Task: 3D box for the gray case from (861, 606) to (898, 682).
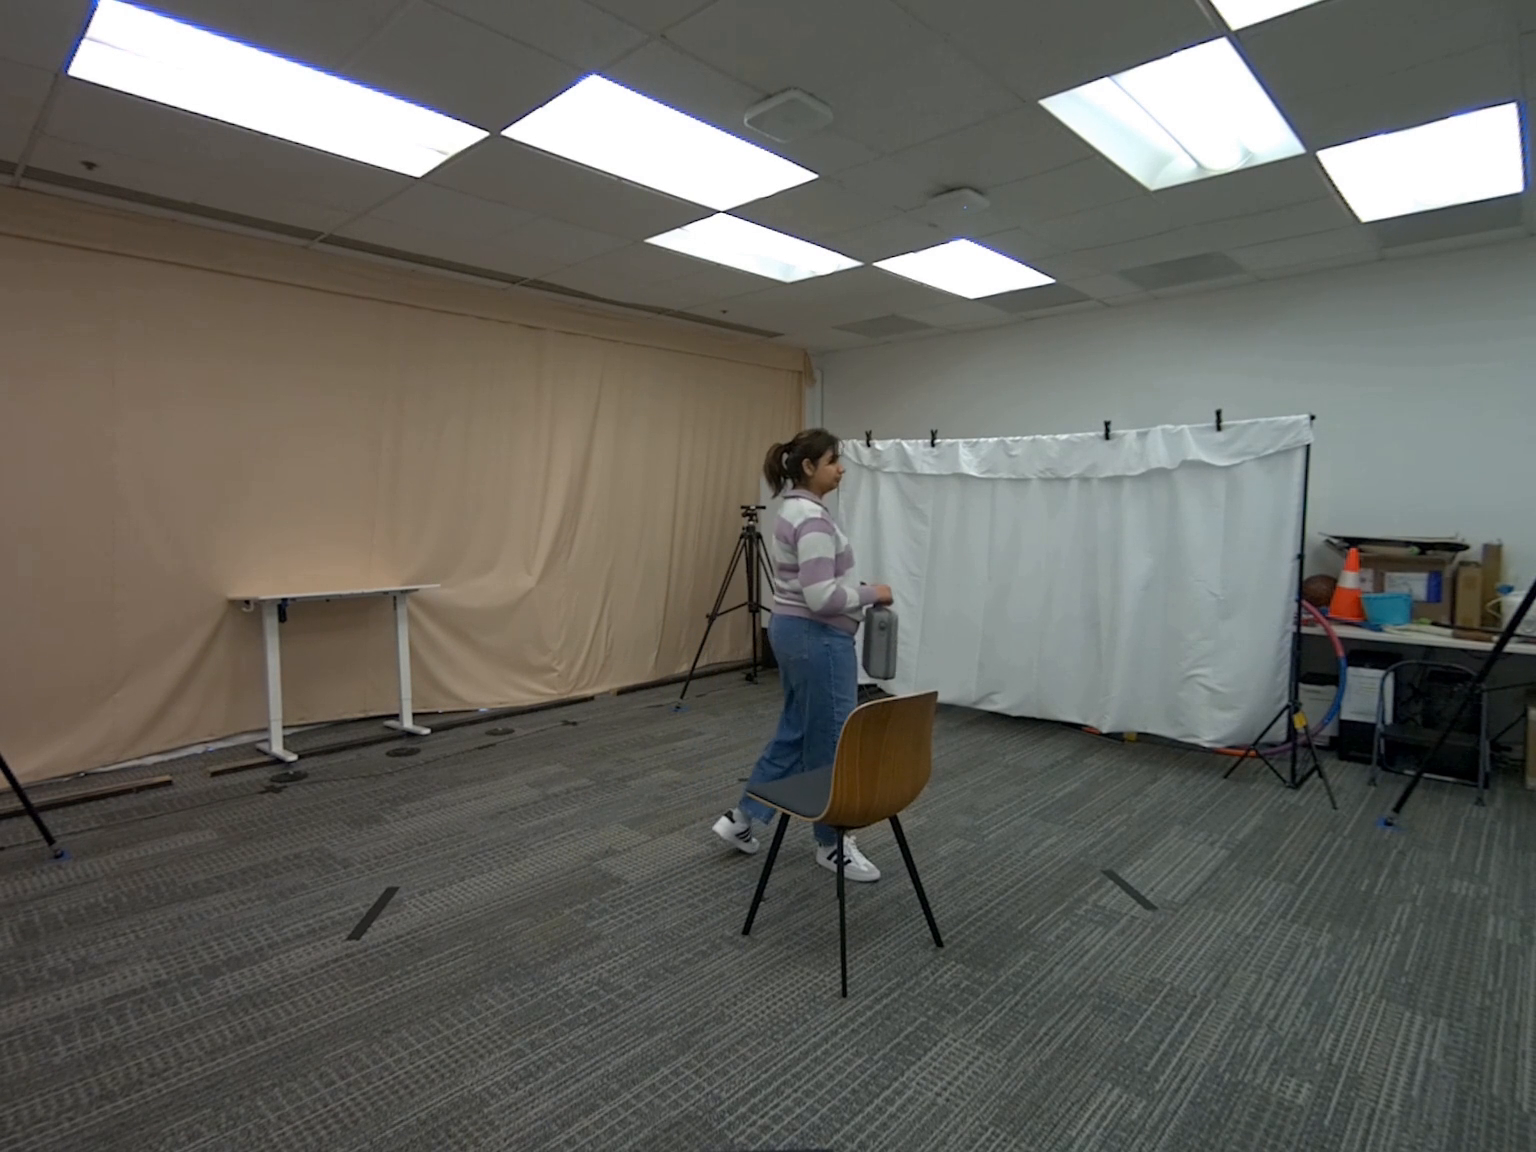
[{"bbox_3d":[0.416,0.247,3.193,0.104,0.260,0.257,4,2,0],"label":"gray case"}]
